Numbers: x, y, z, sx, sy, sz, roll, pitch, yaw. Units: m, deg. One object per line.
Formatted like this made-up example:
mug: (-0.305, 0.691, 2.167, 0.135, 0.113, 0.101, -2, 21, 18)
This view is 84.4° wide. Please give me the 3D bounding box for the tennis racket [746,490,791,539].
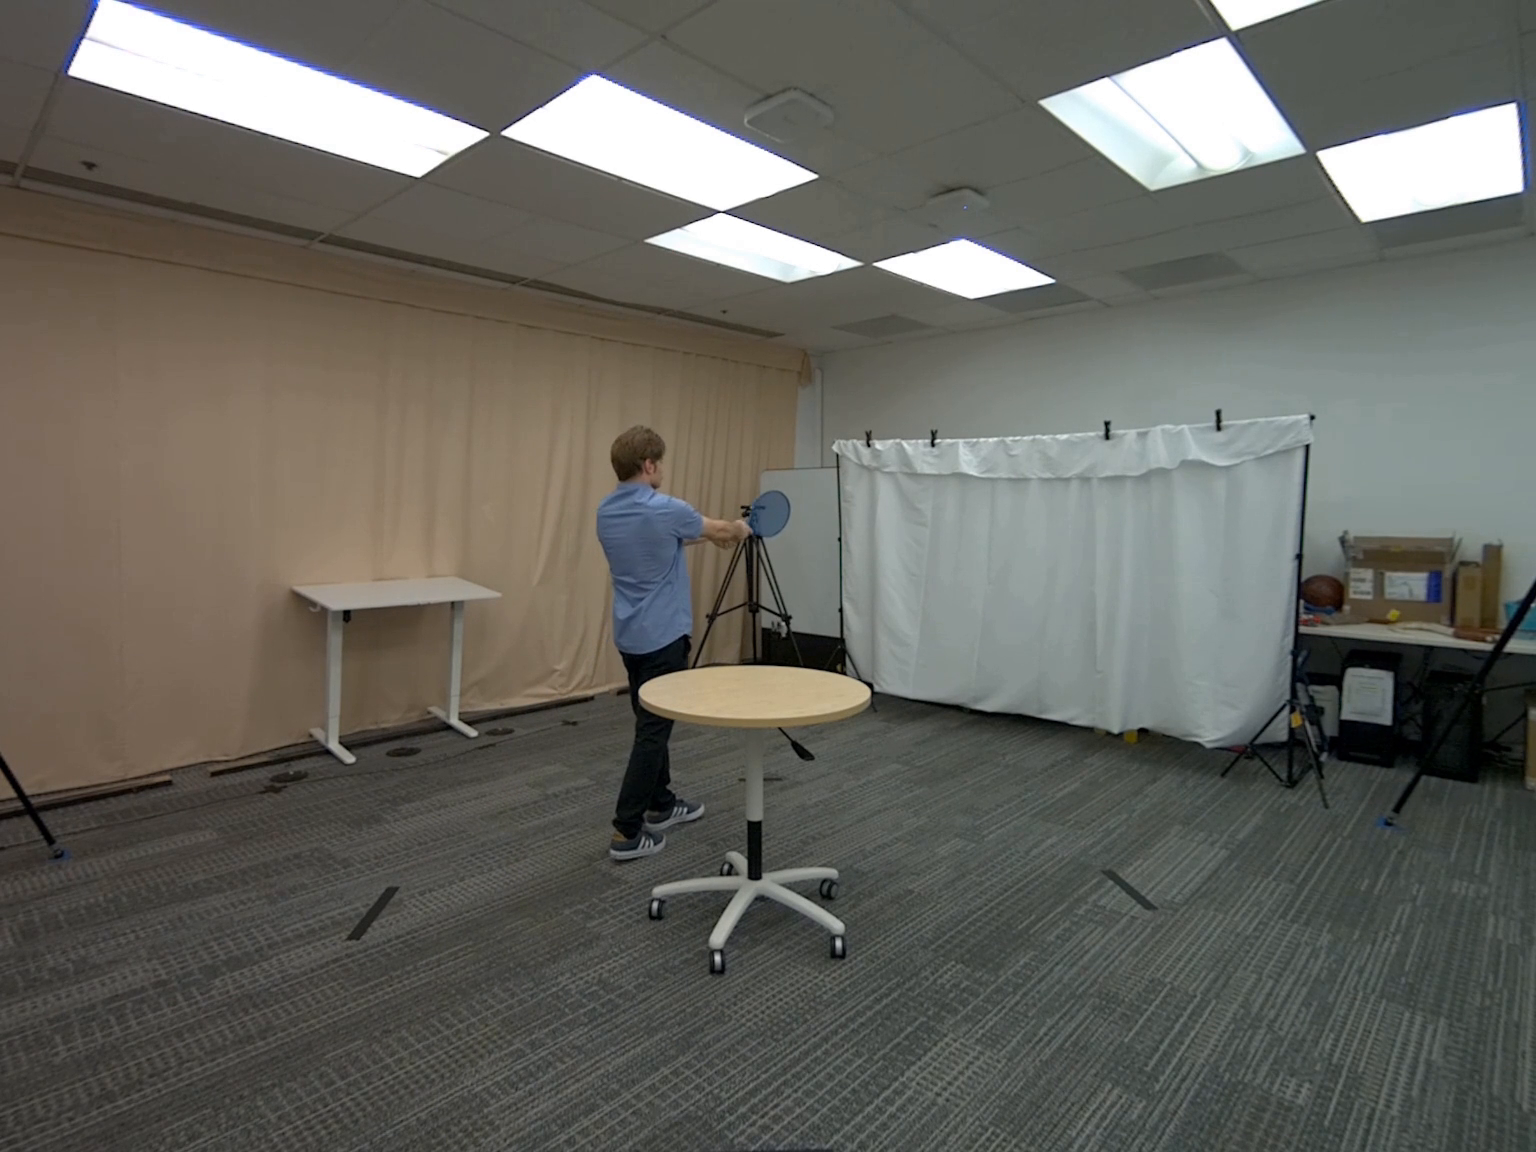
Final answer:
tennis racket: (-0.042, -0.245, 3.985, 0.429, 0.209, 0.033, -43, 27, -29)
